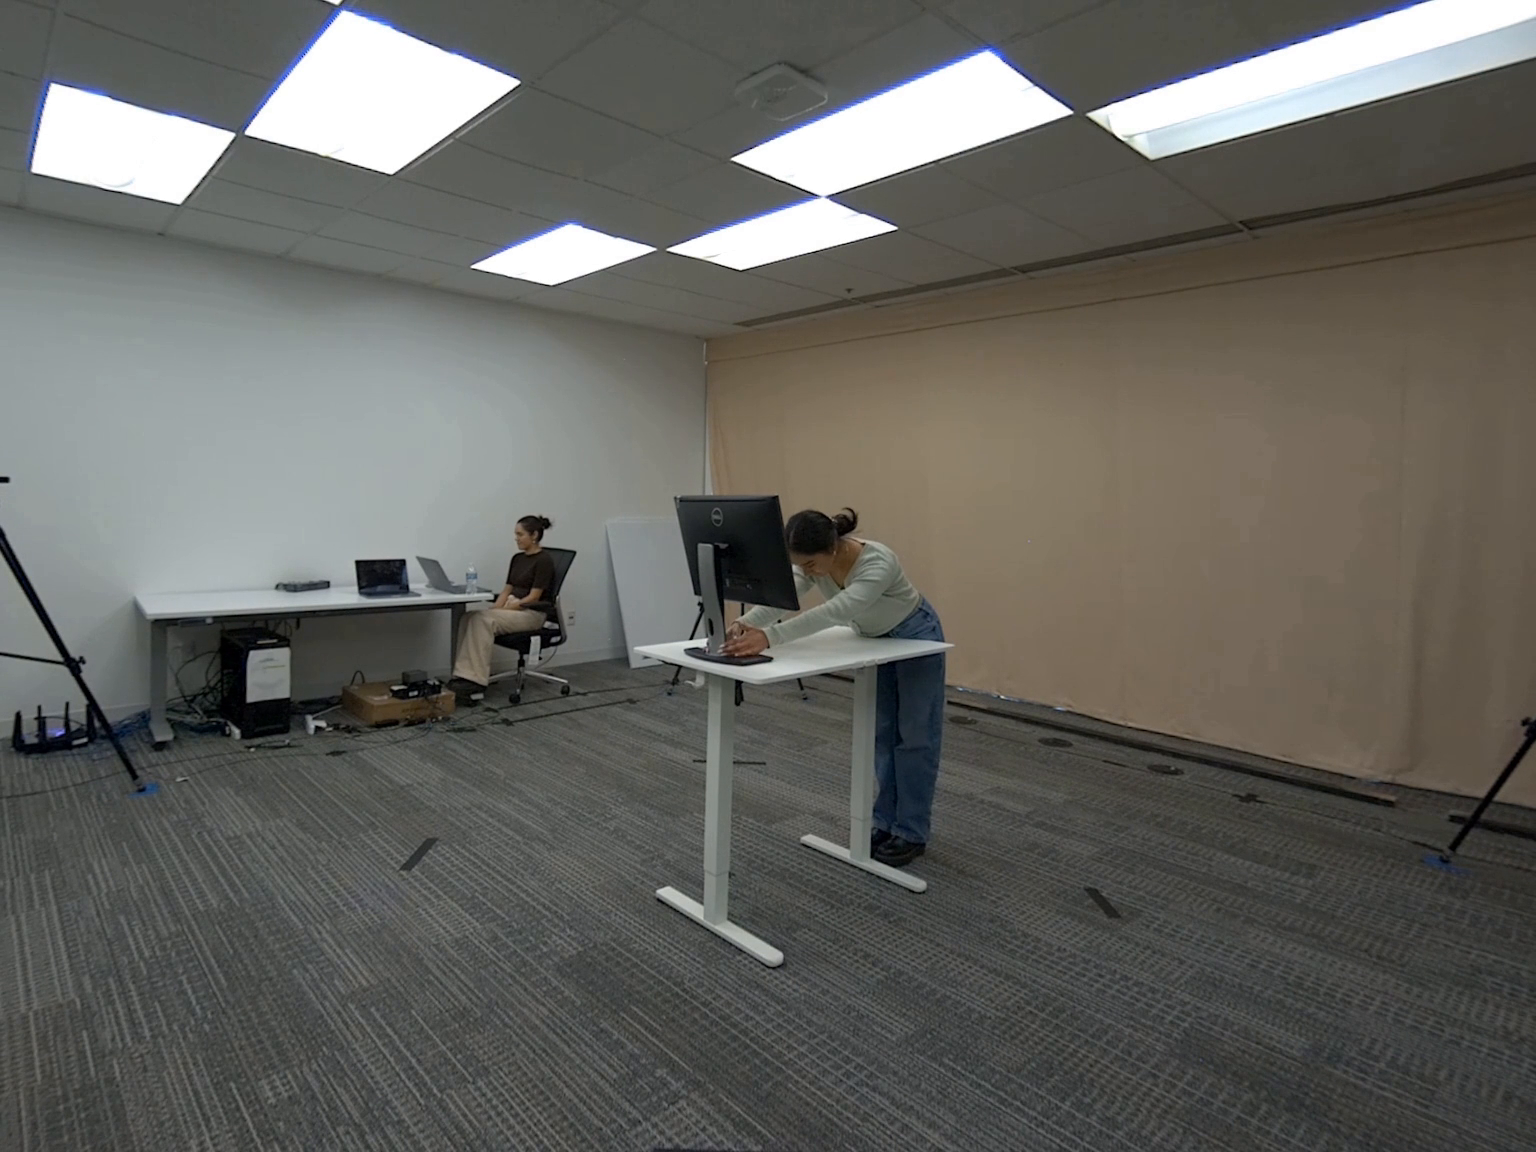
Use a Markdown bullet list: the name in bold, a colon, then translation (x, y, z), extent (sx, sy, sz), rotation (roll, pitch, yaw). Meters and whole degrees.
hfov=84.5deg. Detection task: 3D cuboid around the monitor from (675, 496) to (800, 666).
- **monitor**: translation (-0.139, 0.009, 2.630), extent (0.183, 0.521, 0.552), rotation (-4, 6, -40)
